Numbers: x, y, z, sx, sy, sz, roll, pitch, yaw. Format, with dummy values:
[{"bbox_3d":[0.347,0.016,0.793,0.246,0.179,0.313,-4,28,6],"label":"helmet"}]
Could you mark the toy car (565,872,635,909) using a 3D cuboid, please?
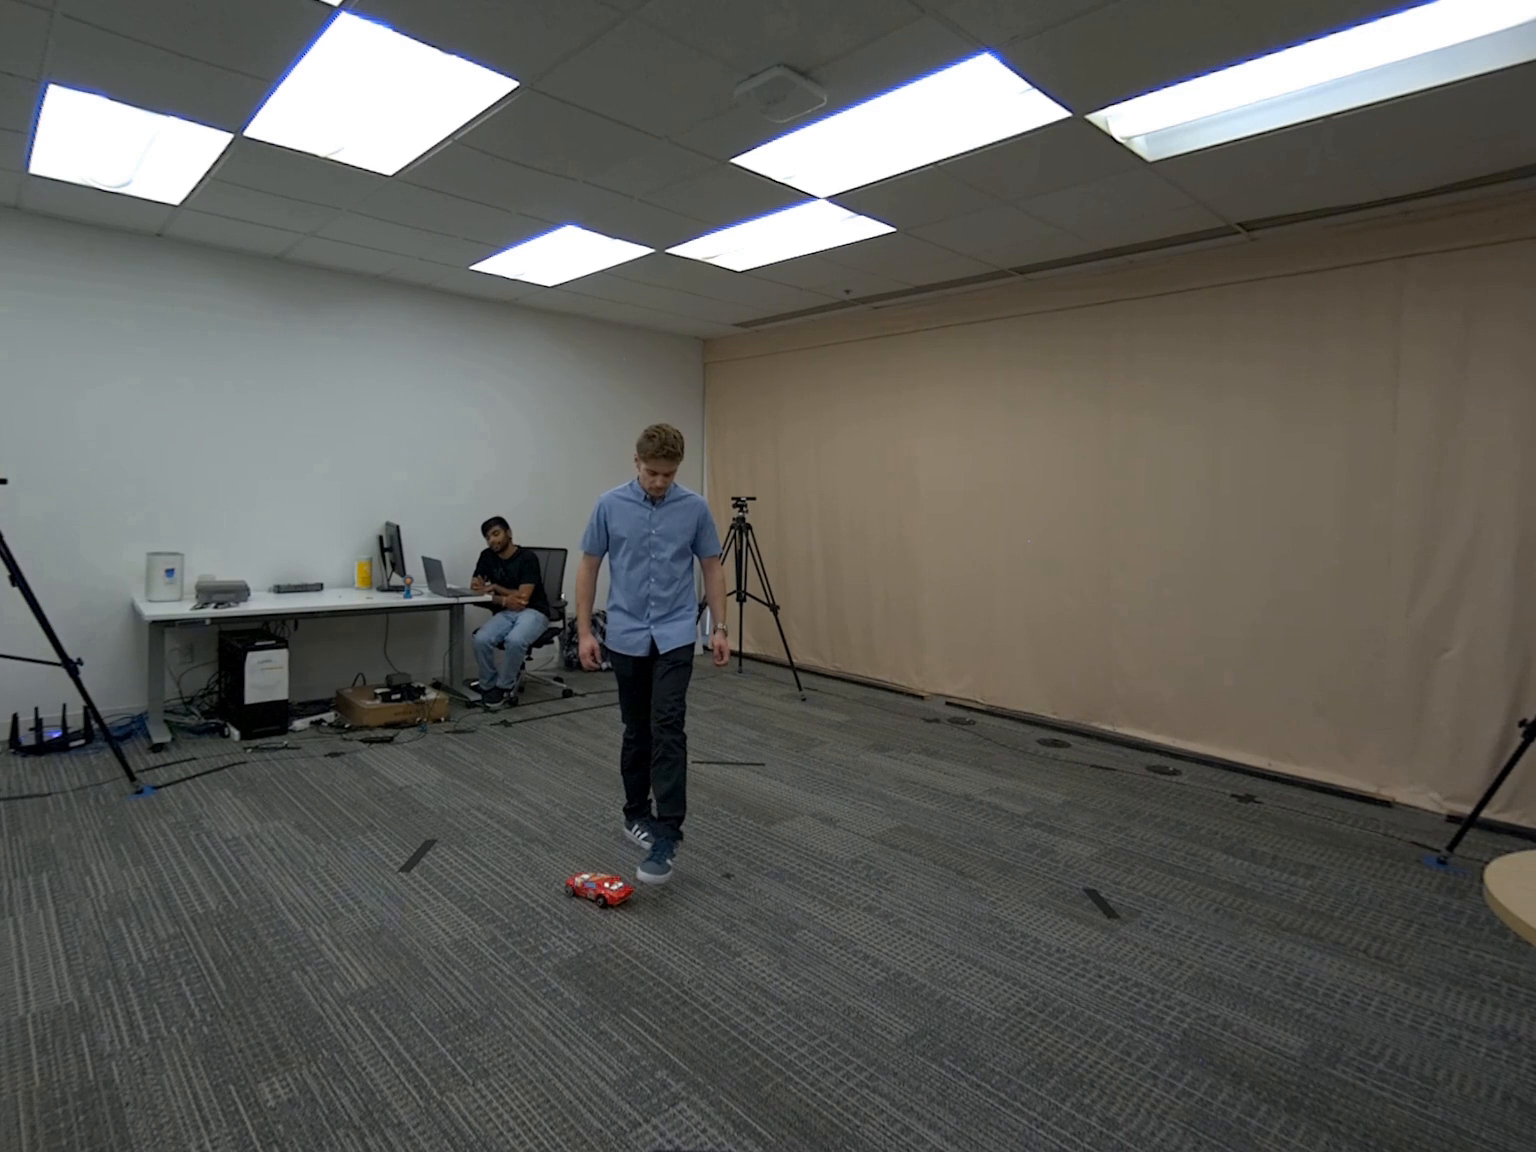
[{"bbox_3d":[-0.582,1.081,2.908,0.259,0.083,0.128,-9,-1,32],"label":"toy car"}]
